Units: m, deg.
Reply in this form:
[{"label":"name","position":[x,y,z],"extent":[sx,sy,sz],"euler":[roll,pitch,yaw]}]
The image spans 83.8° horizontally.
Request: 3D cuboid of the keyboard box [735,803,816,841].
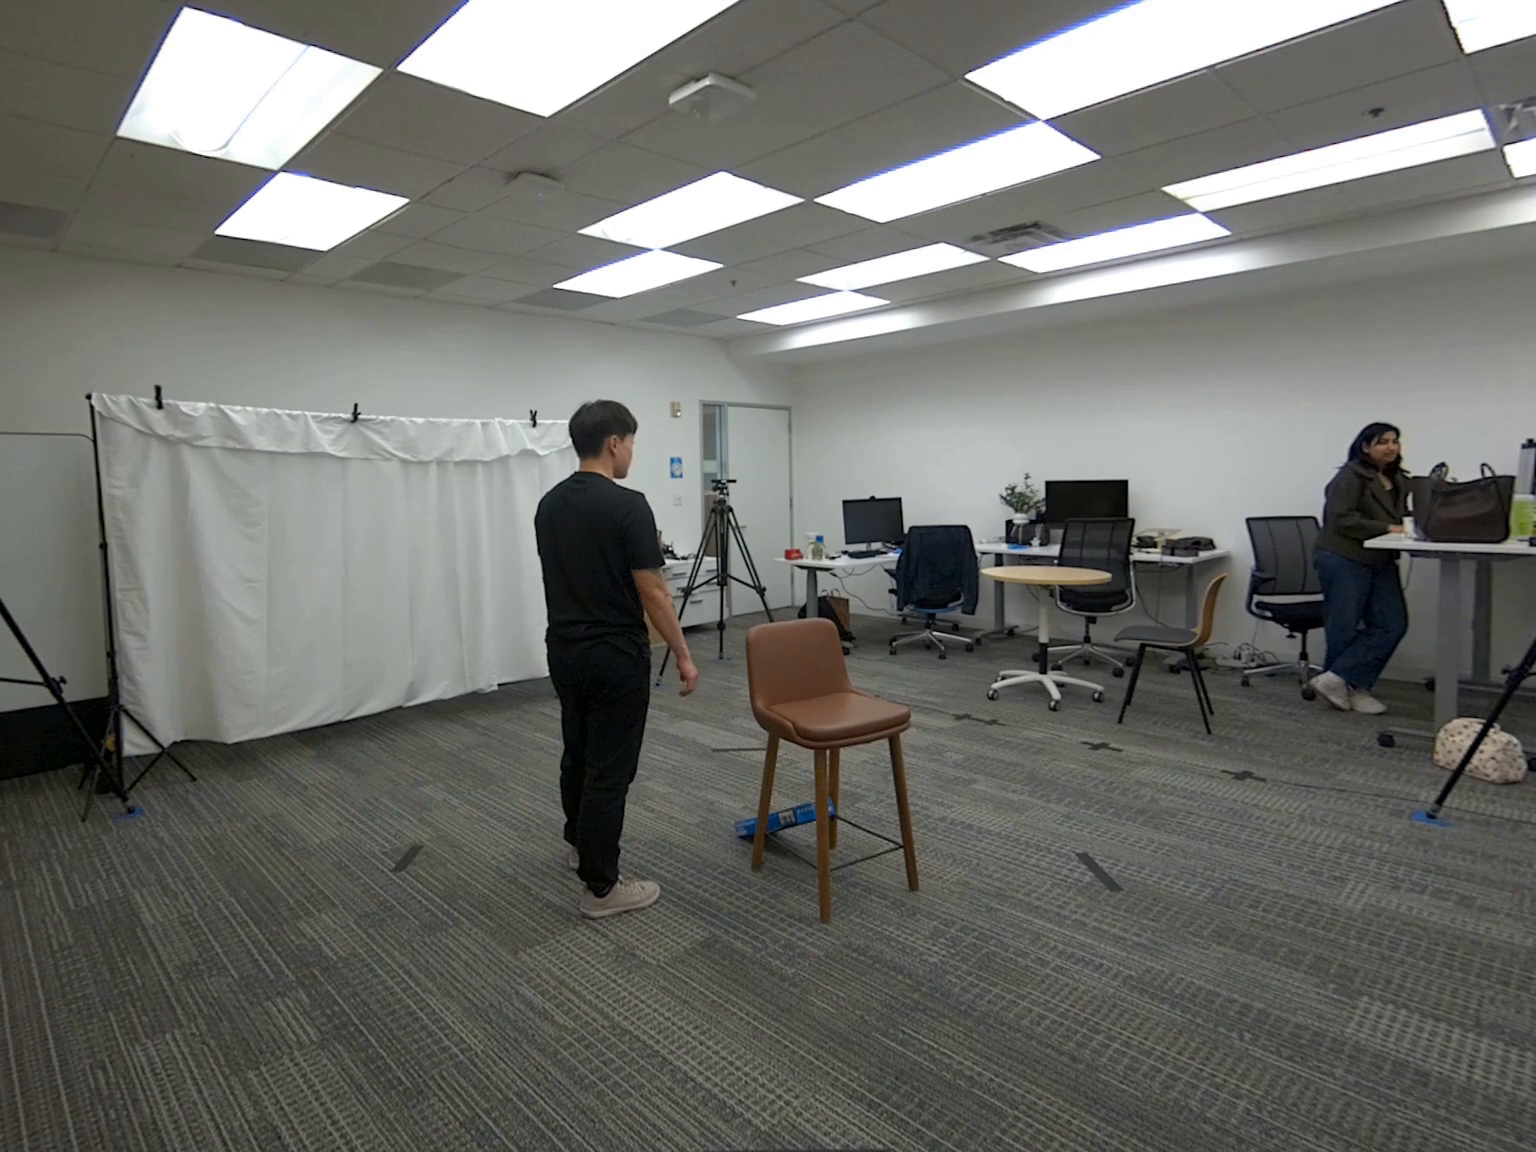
[{"label":"keyboard box","position":[0.053,0.917,3.224],"extent":[0.171,0.060,0.440],"euler":[-4,-18,-34]}]
